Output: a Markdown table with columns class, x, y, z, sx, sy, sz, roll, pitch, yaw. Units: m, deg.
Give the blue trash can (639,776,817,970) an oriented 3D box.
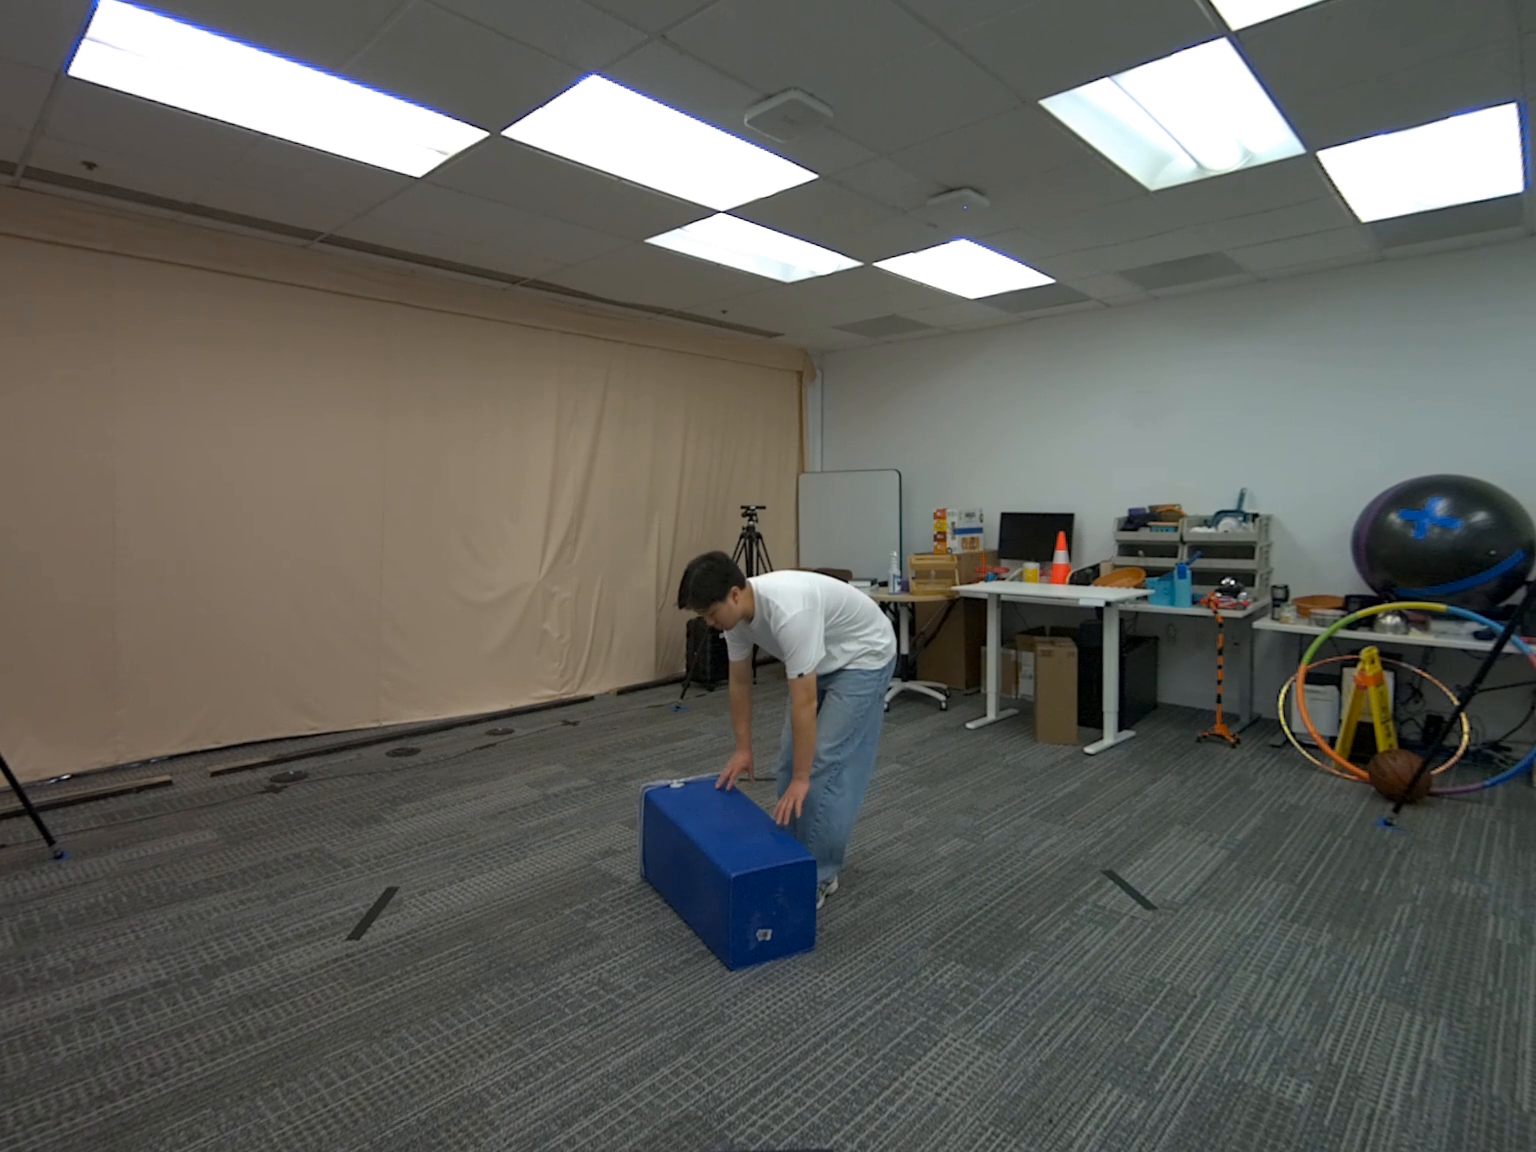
| class | x | y | z | sx | sy | sz | roll | pitch | yaw |
| --- | --- | --- | --- | --- | --- | --- | --- | --- | --- |
| blue trash can | -0.144 | 0.987 | 2.880 | 0.365 | 0.377 | 0.734 | -2 | 7 | -28 |
